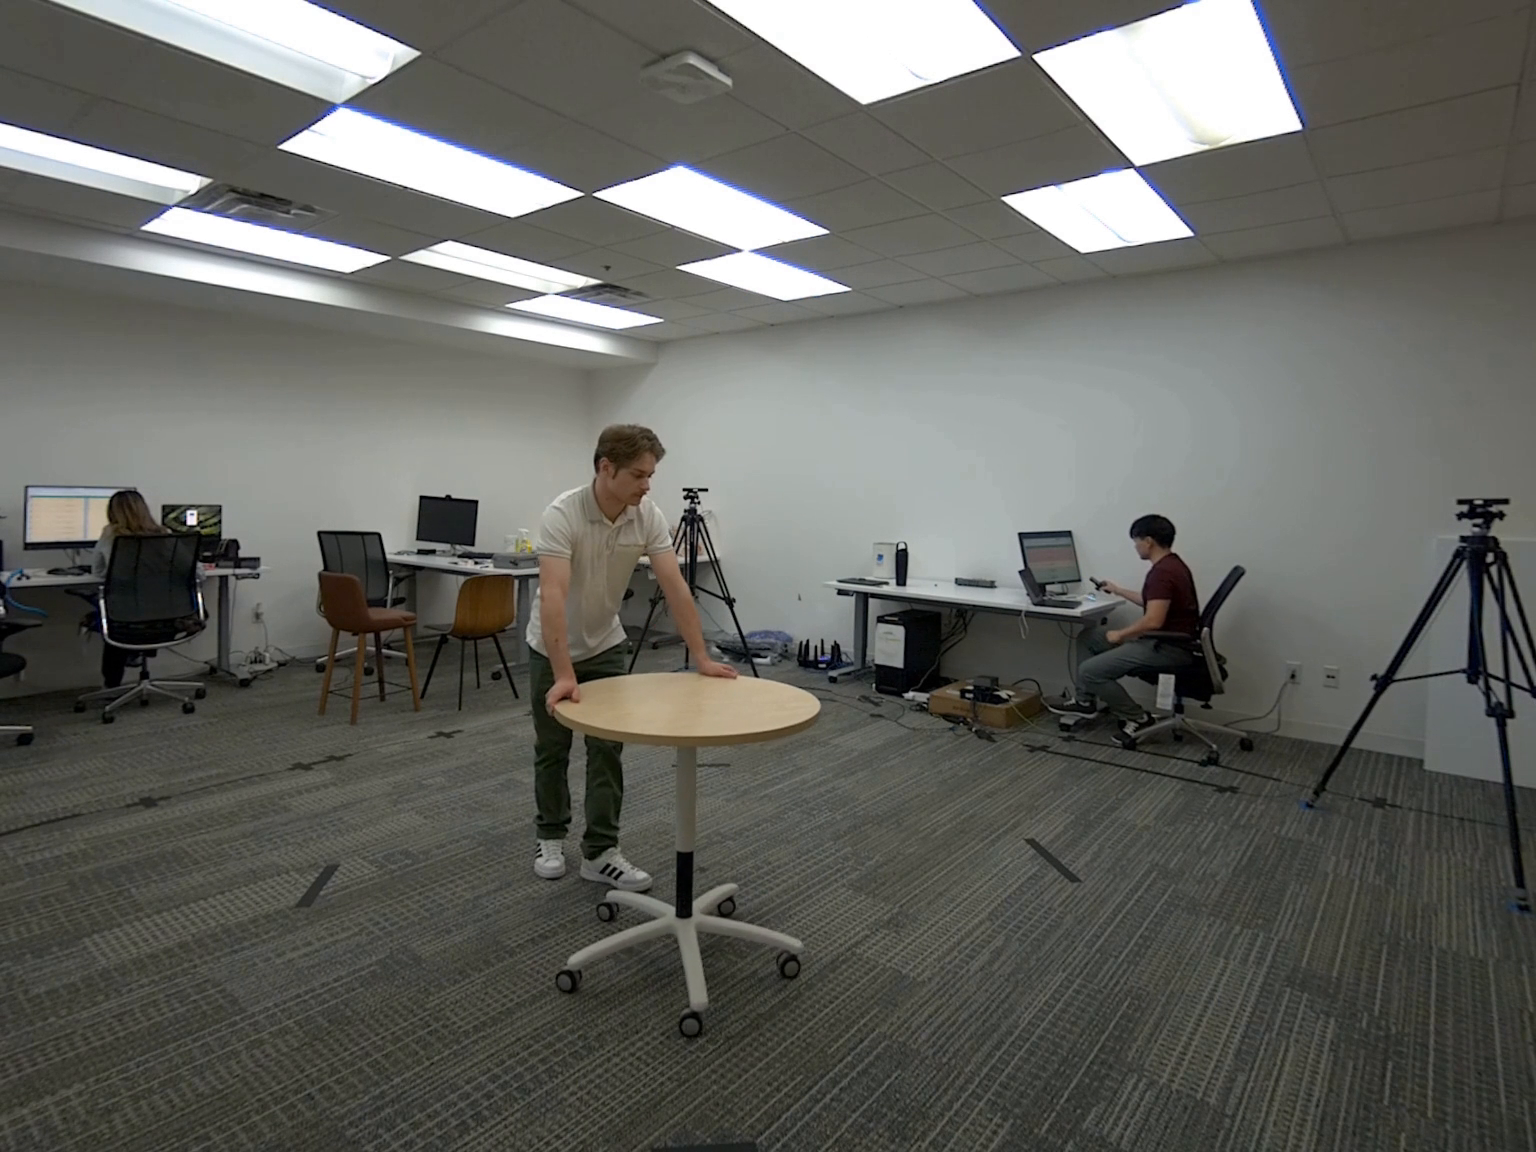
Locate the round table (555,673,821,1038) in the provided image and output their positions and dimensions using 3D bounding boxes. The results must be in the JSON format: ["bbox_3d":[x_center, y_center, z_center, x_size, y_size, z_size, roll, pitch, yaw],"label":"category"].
[{"bbox_3d":[-0.247,0.746,2.478,0.763,0.791,0.767,1,4,-2],"label":"round table"}]
